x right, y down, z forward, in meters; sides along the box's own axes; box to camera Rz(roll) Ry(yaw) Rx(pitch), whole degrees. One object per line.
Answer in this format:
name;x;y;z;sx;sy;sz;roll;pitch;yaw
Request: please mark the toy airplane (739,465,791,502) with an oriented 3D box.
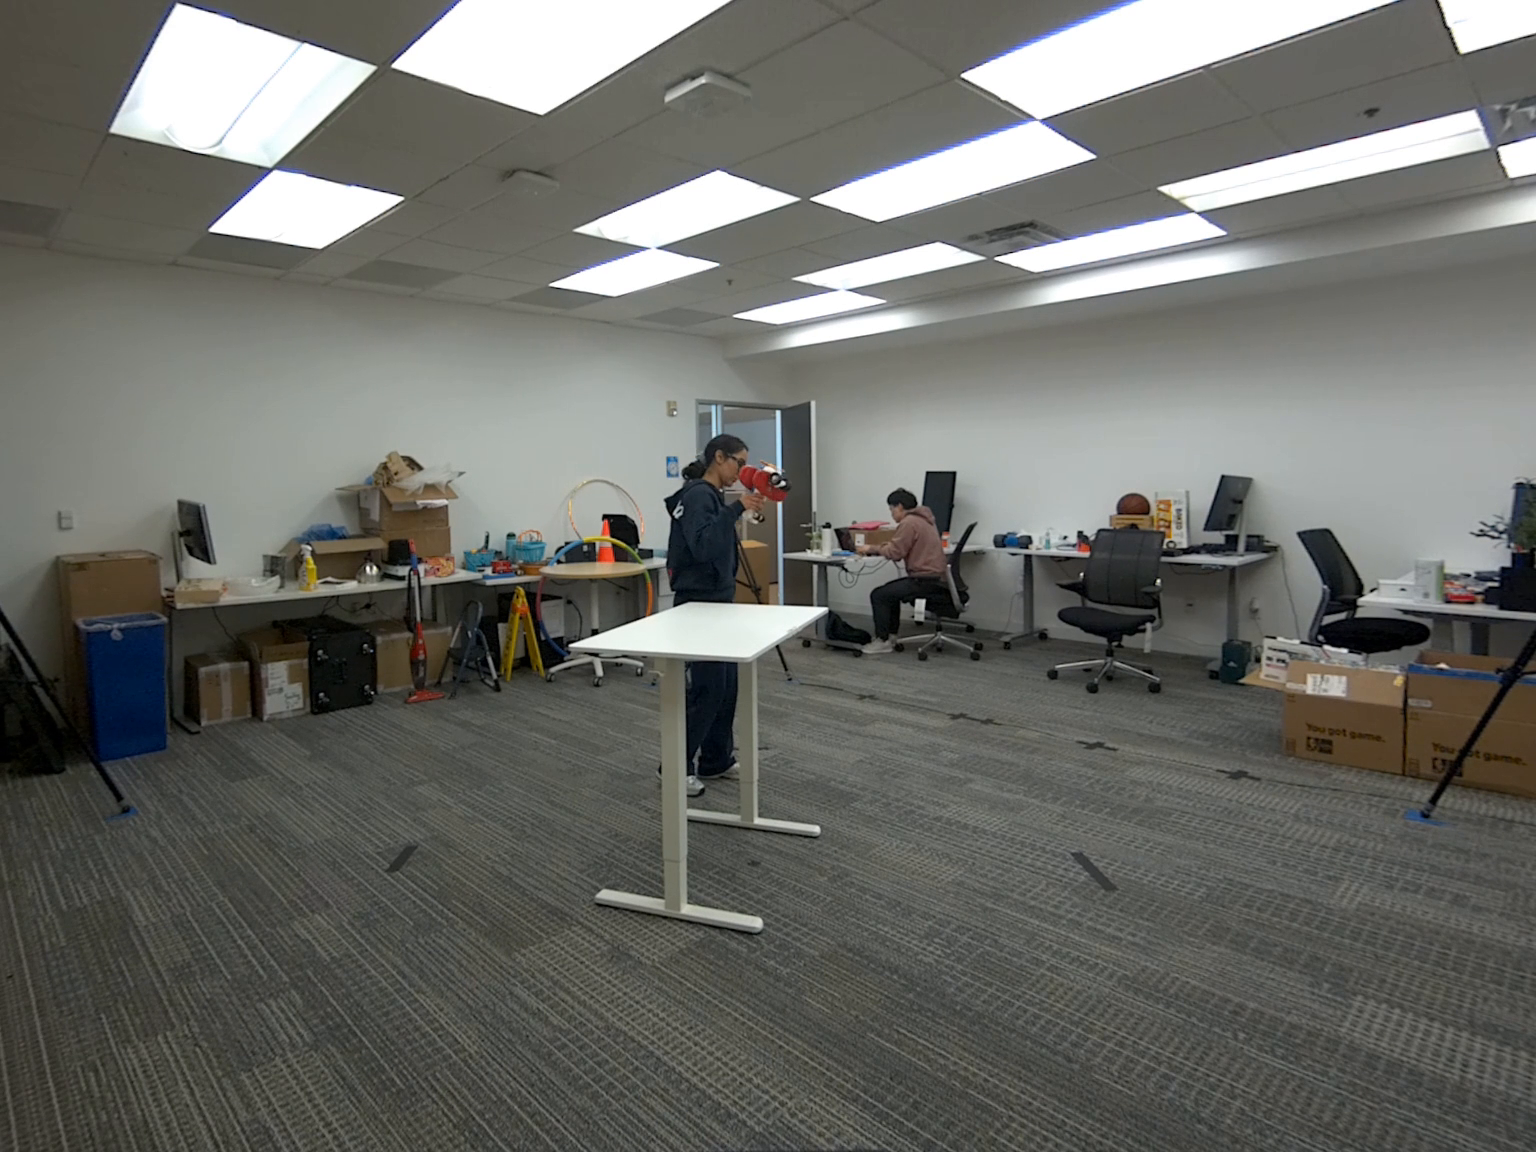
toy airplane;-0.031;-0.355;3.665;0.258;0.242;0.162;-40;53;-16
